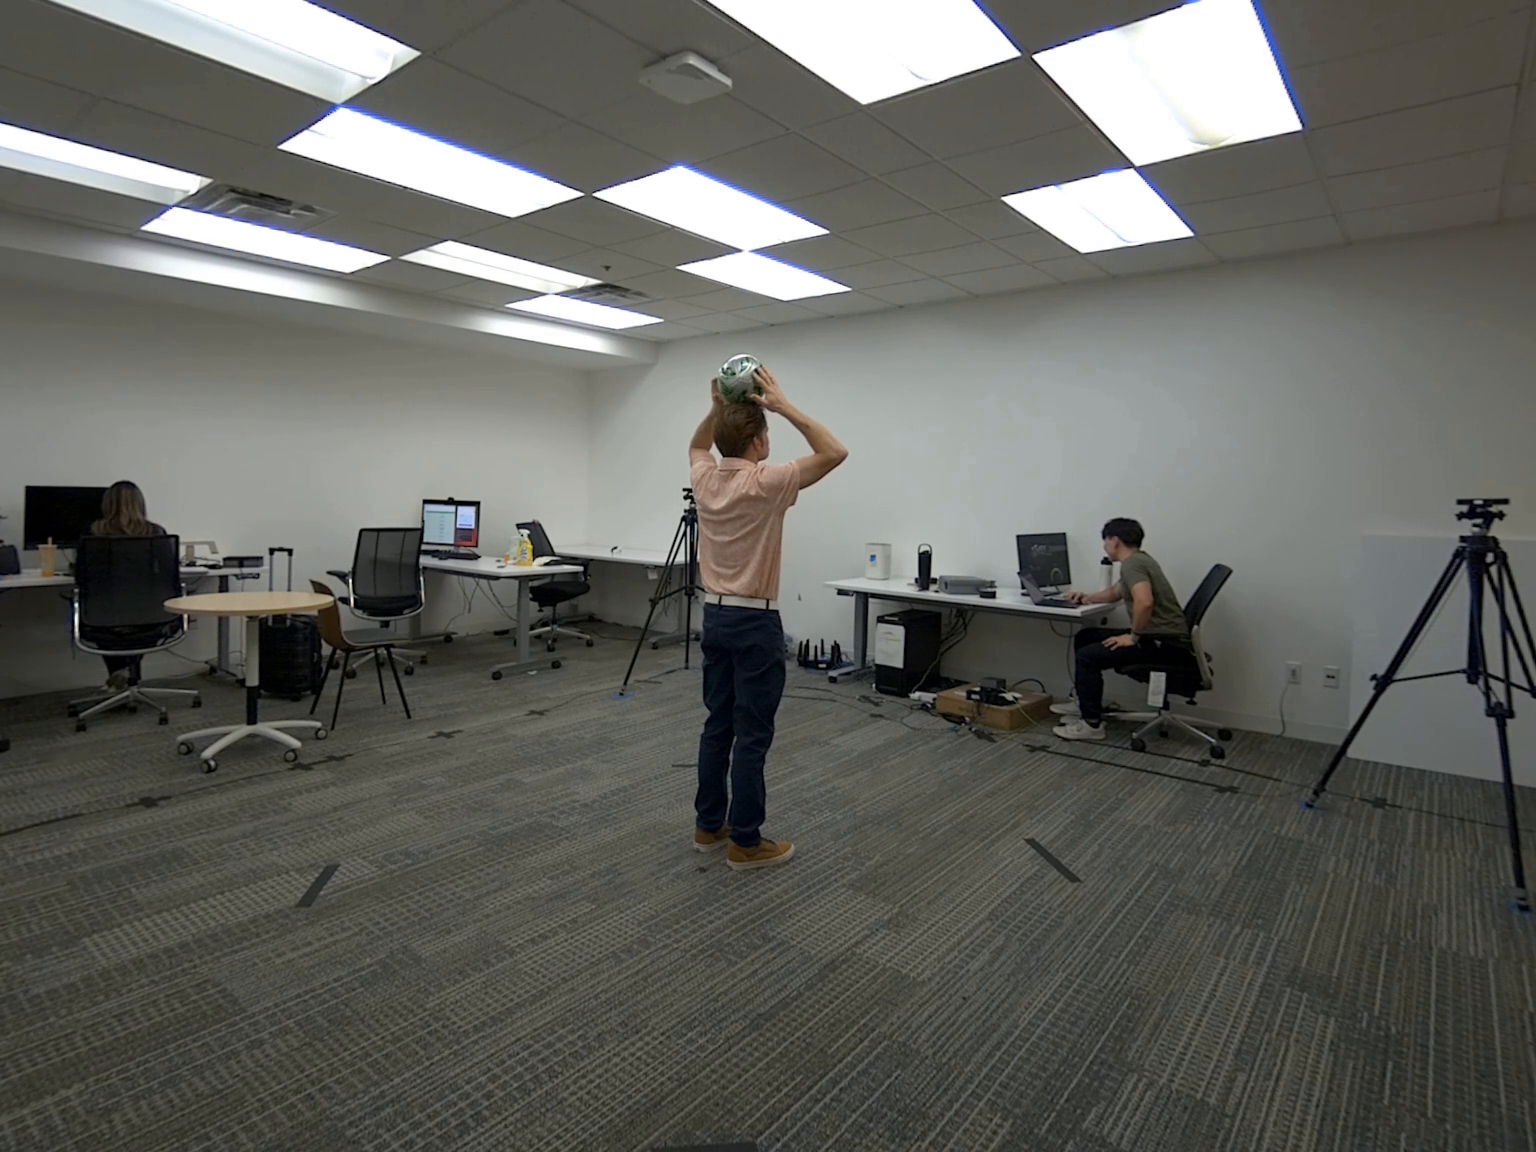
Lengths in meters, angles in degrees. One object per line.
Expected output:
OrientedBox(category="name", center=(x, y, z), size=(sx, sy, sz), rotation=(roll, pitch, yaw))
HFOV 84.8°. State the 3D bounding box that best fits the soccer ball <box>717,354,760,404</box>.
OrientedBox(category="soccer ball", center=(-0.104, -0.729, 3.159), size=(0.187, 0.187, 0.188), rotation=(1, 4, -2))
